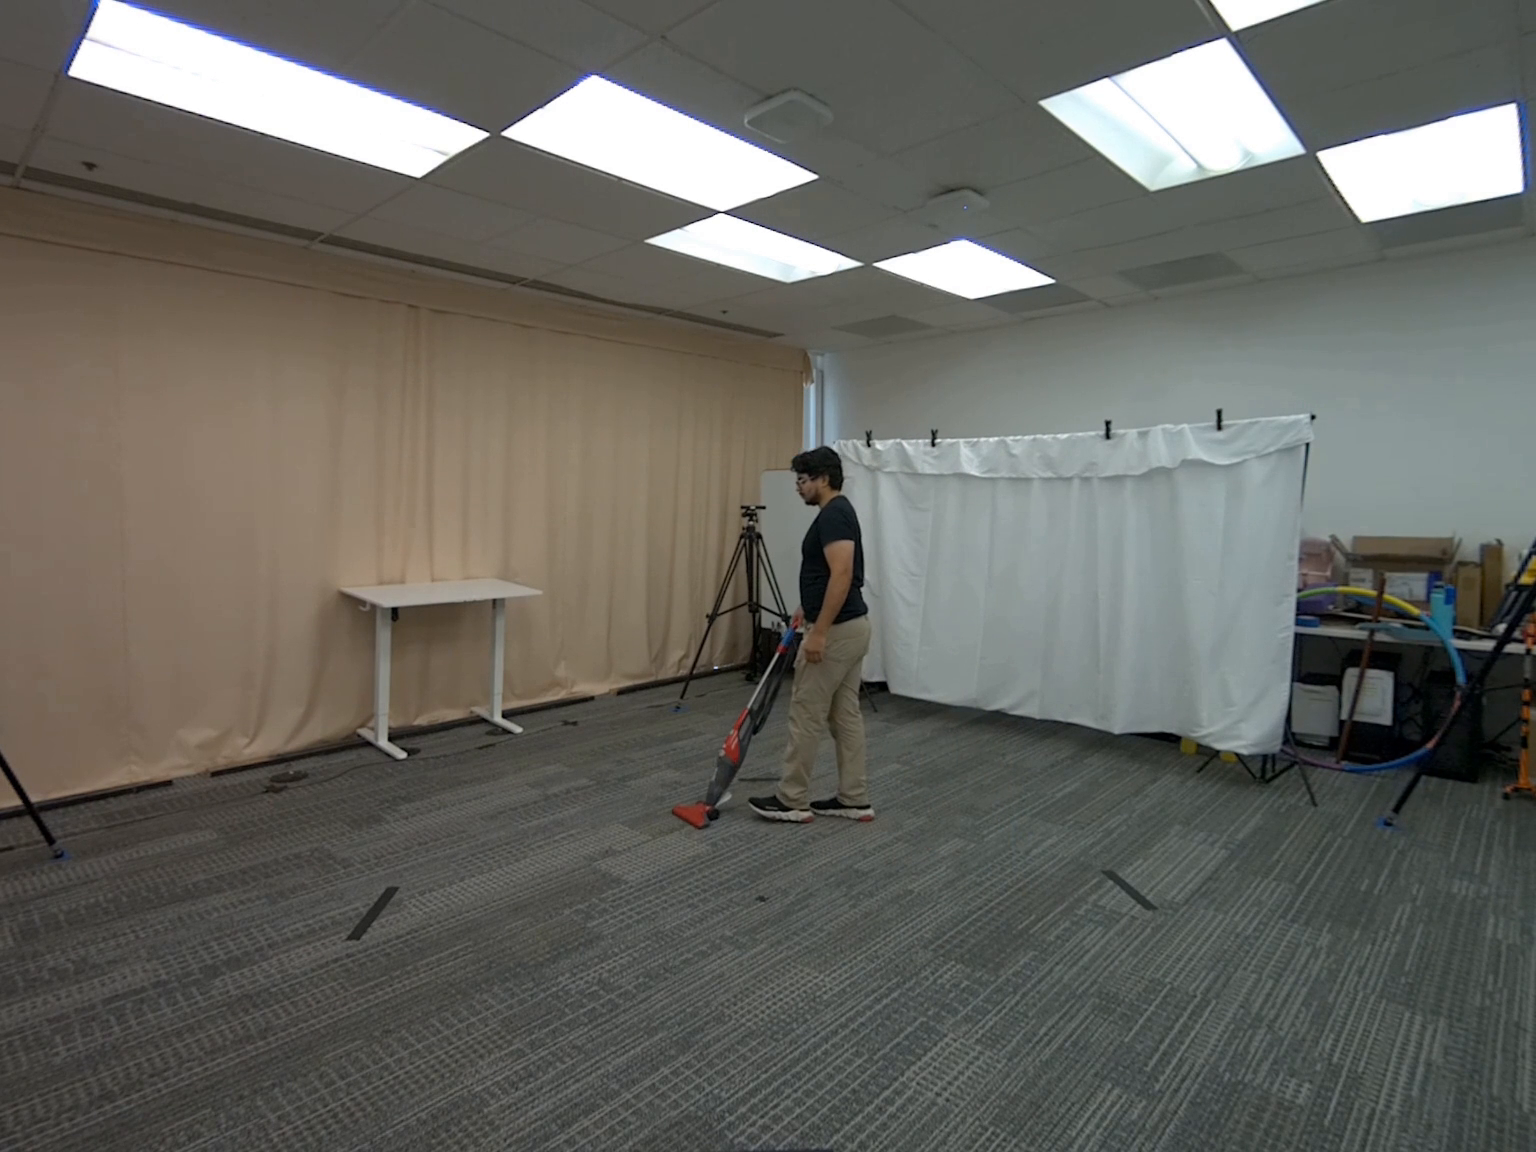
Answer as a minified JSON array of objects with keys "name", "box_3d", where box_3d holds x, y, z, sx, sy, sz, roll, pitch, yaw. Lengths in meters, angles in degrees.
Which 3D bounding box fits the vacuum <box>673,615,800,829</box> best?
[{"name":"vacuum","box_3d":[-0.068,0.645,3.913,0.139,1.049,0.261,41,-20,-33]}]
